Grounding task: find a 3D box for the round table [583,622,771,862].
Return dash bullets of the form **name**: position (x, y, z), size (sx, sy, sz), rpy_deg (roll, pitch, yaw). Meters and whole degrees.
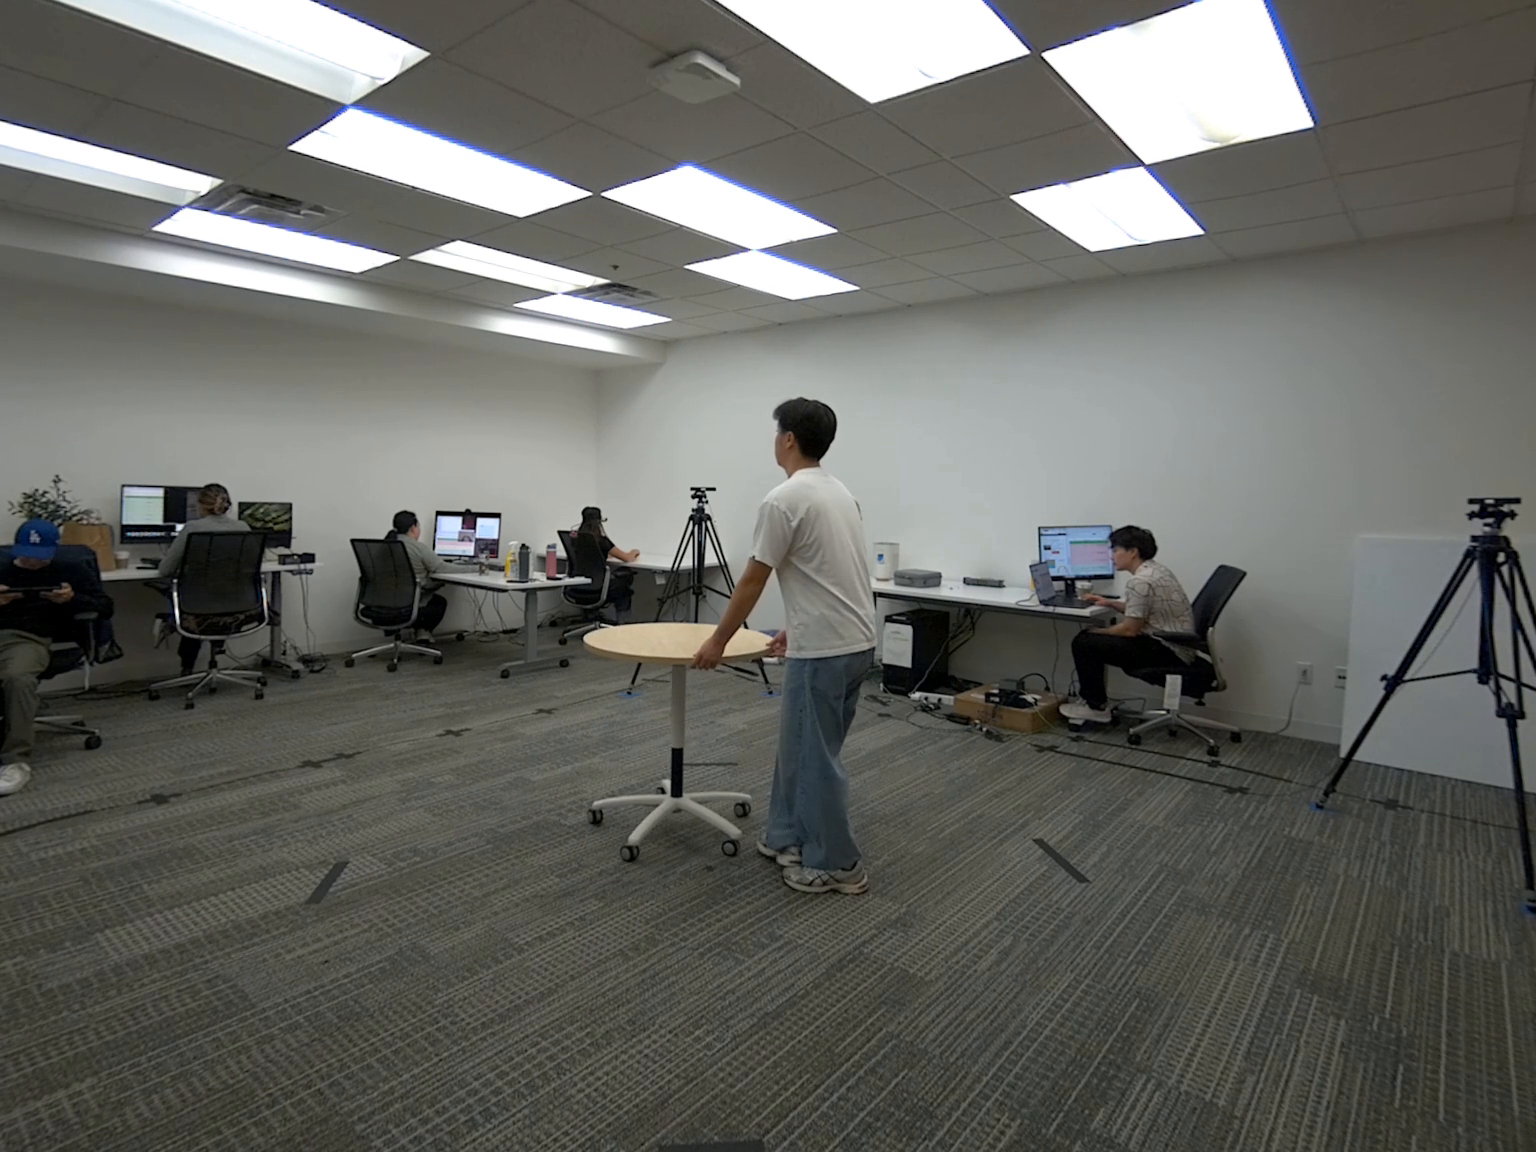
- **round table**: position (-0.377, 0.641, 3.434), size (0.763, 0.791, 0.768), rpy_deg (1, 4, -2)
